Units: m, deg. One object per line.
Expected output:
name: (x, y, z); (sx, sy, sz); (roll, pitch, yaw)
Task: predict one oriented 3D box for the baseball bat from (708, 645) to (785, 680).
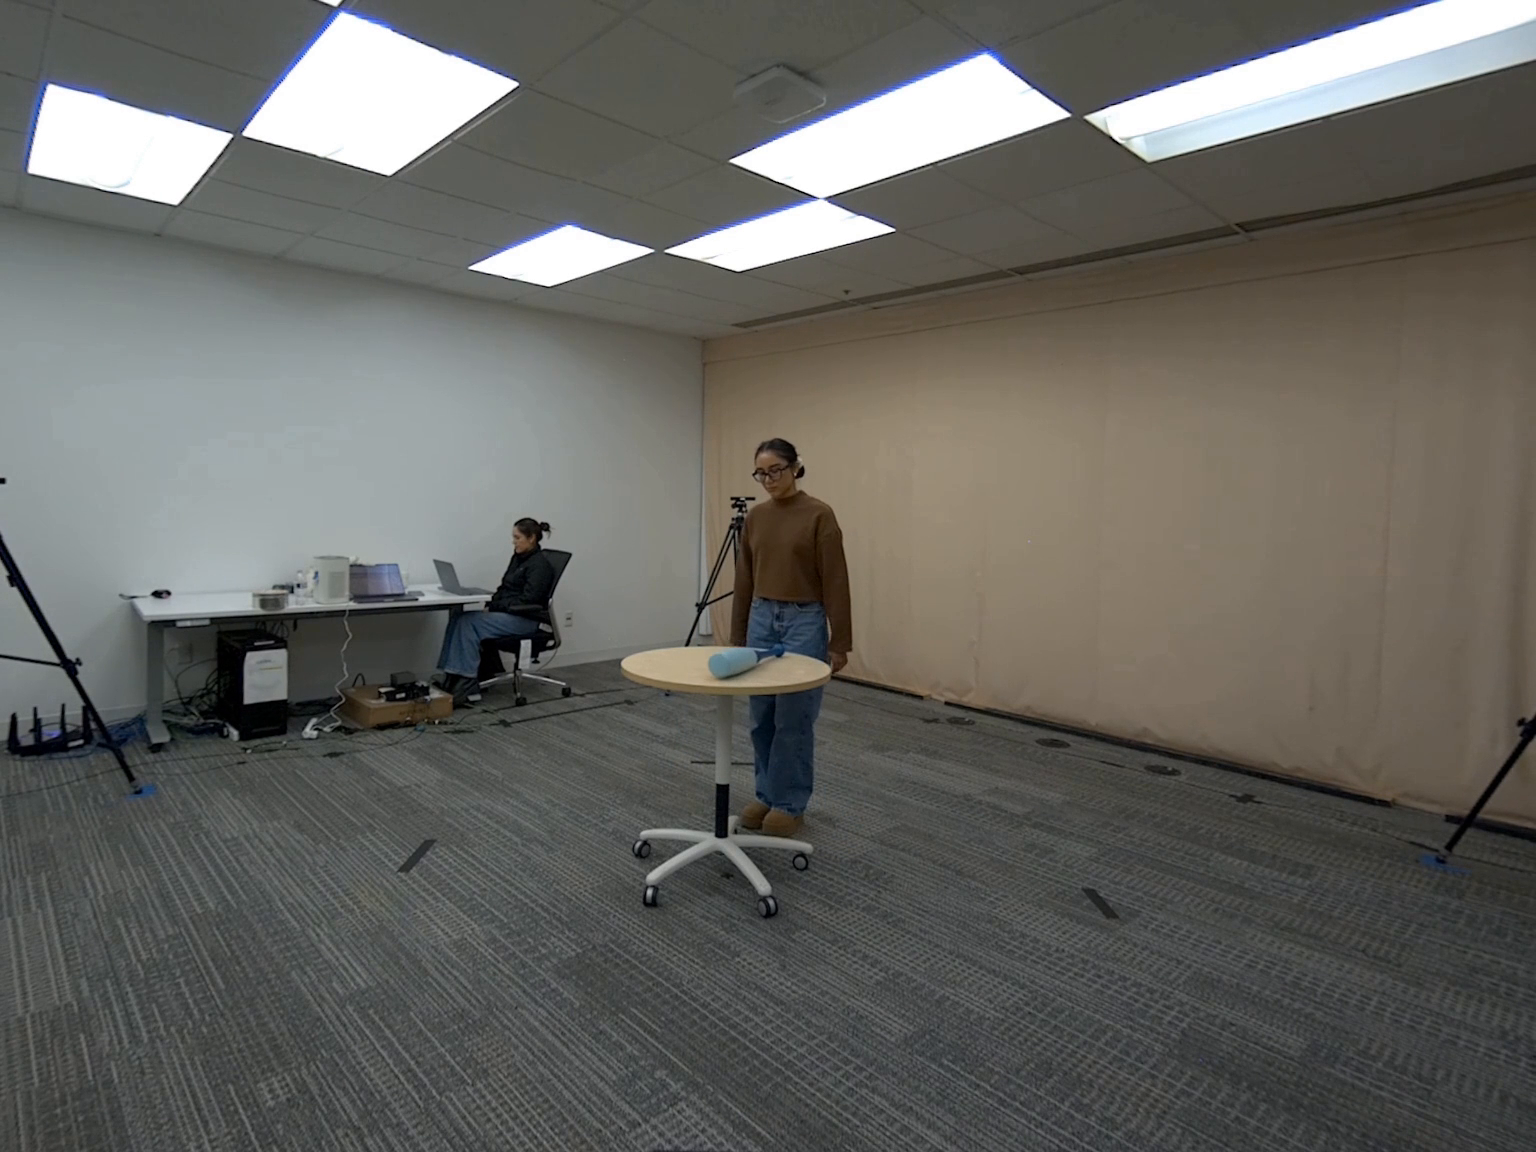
baseball bat: (-0.068, 0.300, 3.031); (0.091, 0.089, 0.533); (3, 1, 23)
